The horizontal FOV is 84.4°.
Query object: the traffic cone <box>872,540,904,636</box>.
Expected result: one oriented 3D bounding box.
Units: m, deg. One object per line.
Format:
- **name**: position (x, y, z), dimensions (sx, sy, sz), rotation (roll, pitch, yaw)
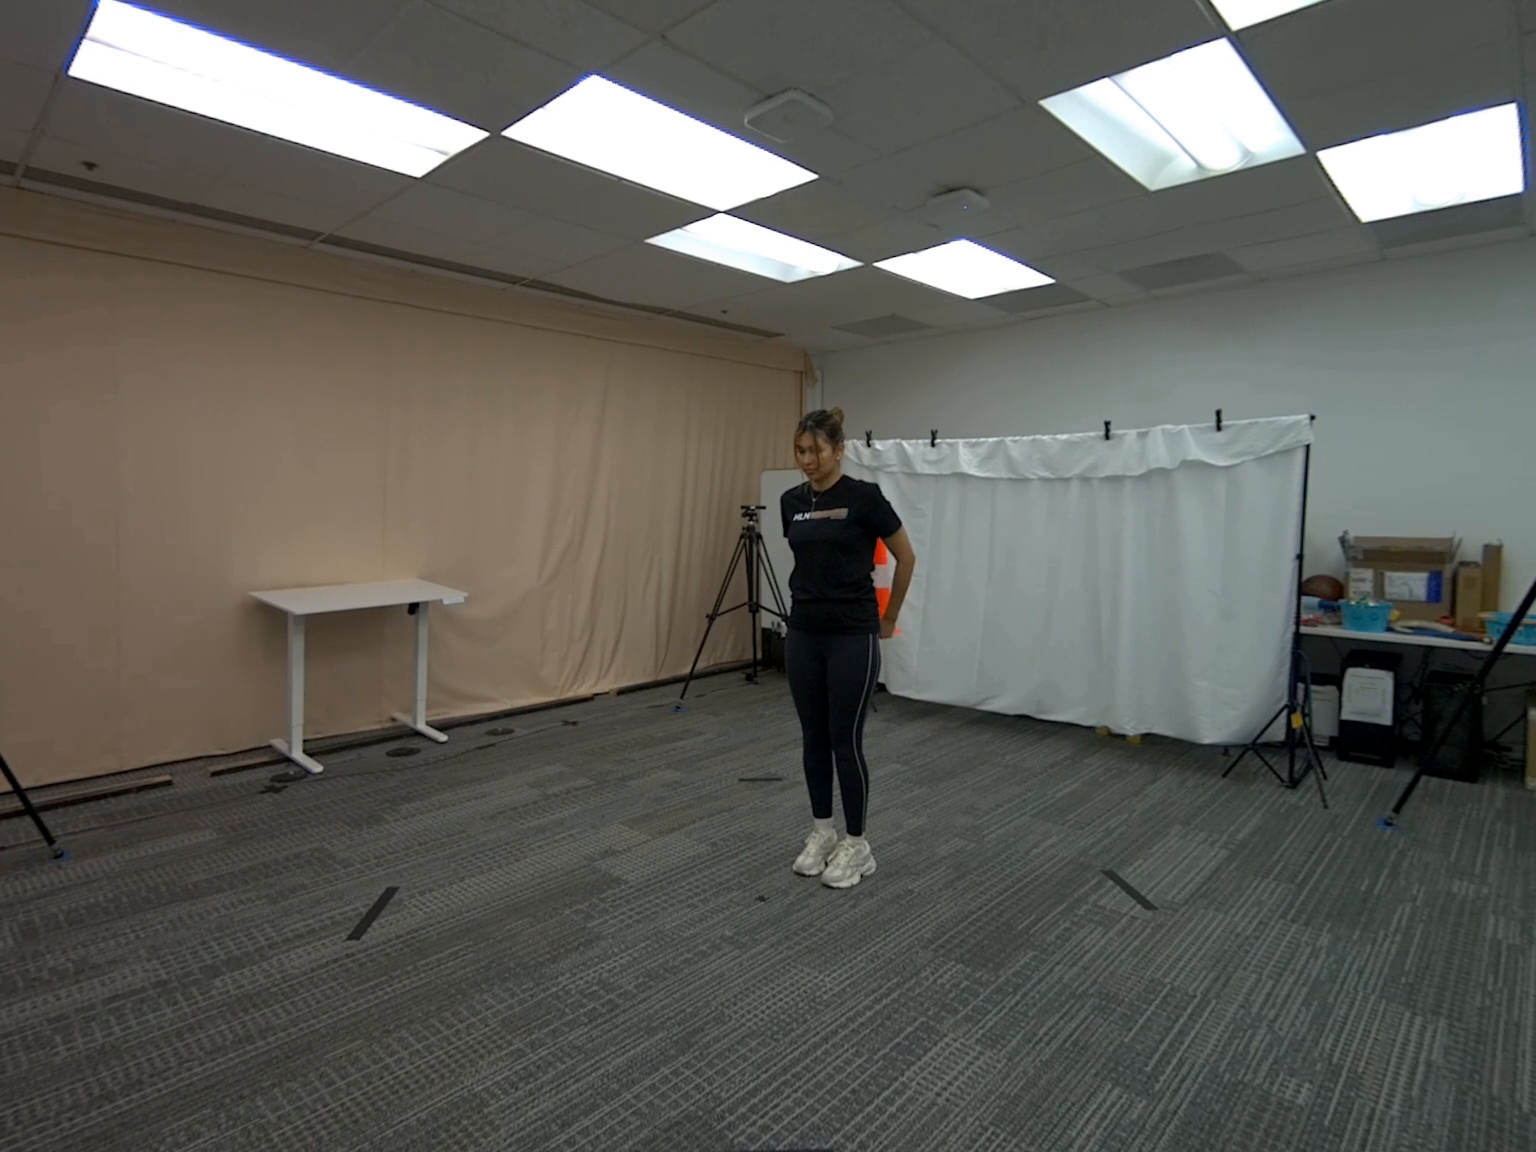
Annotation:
- **traffic cone**: position (0.426, 0.015, 3.311), dimensions (0.207, 0.382, 0.202), rotation (5, 8, 7)
